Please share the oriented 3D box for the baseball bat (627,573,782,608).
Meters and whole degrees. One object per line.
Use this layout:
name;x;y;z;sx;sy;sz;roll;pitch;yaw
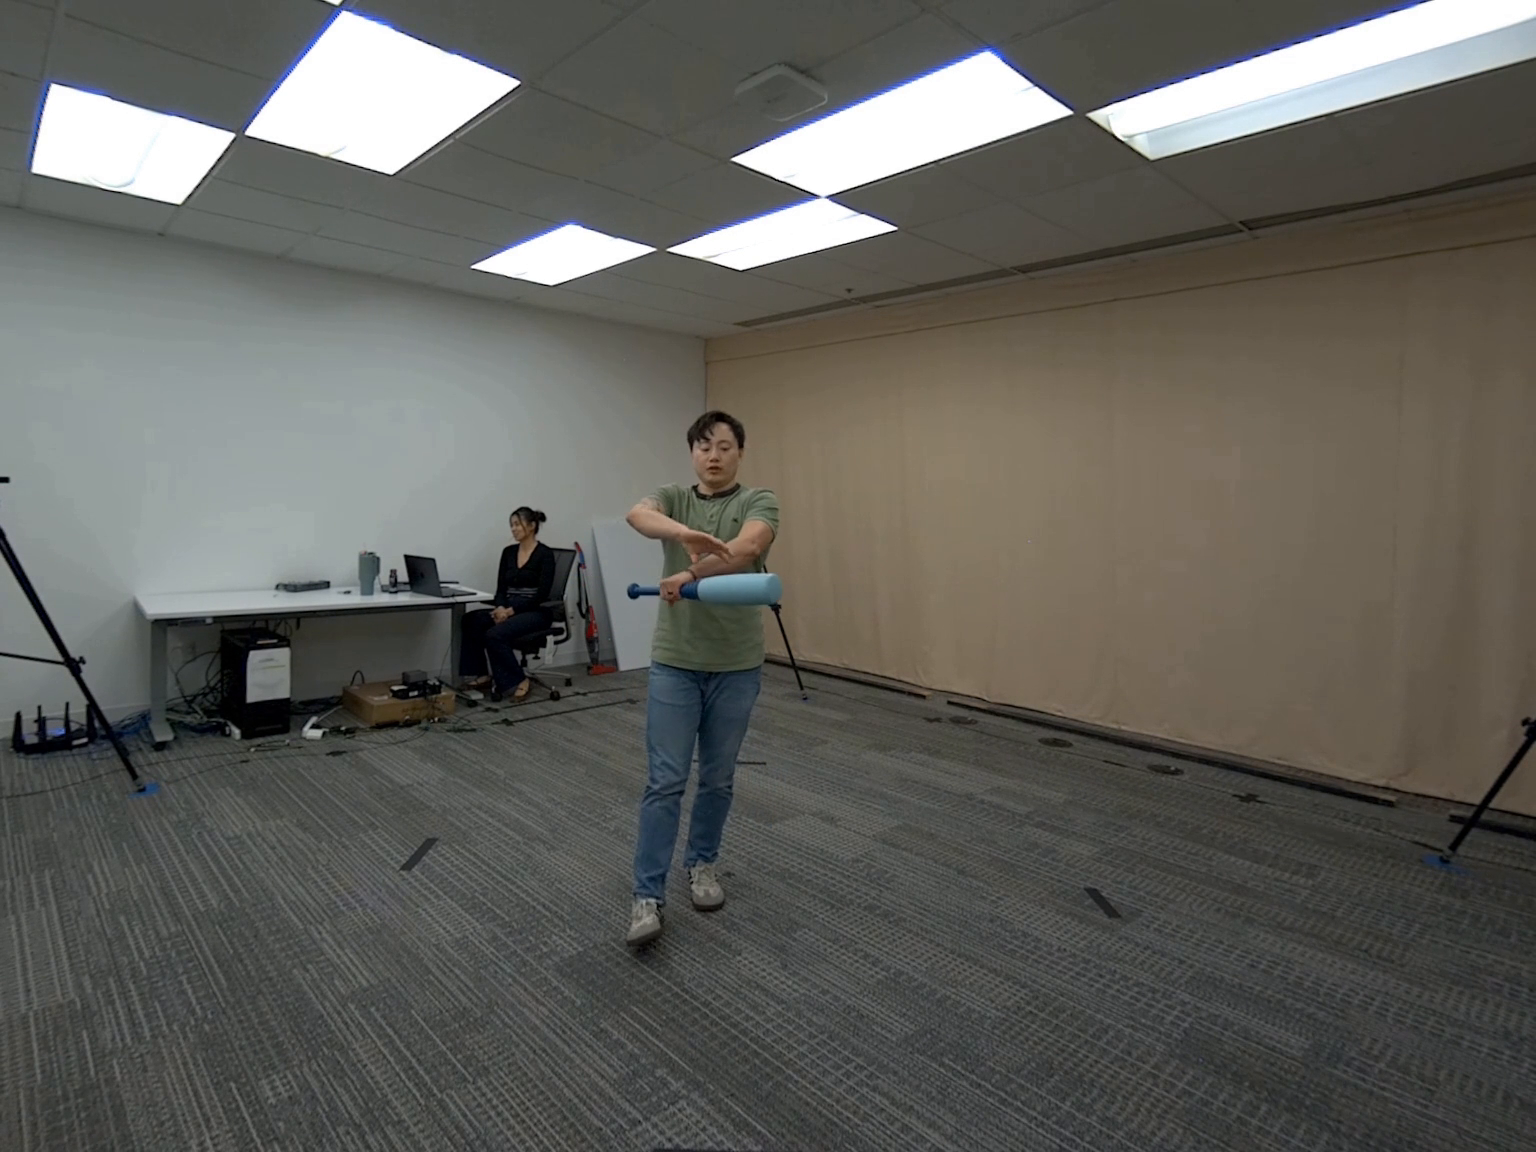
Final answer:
baseball bat;-0.210;0.048;2.445;0.555;0.089;0.087;-3;1;38
